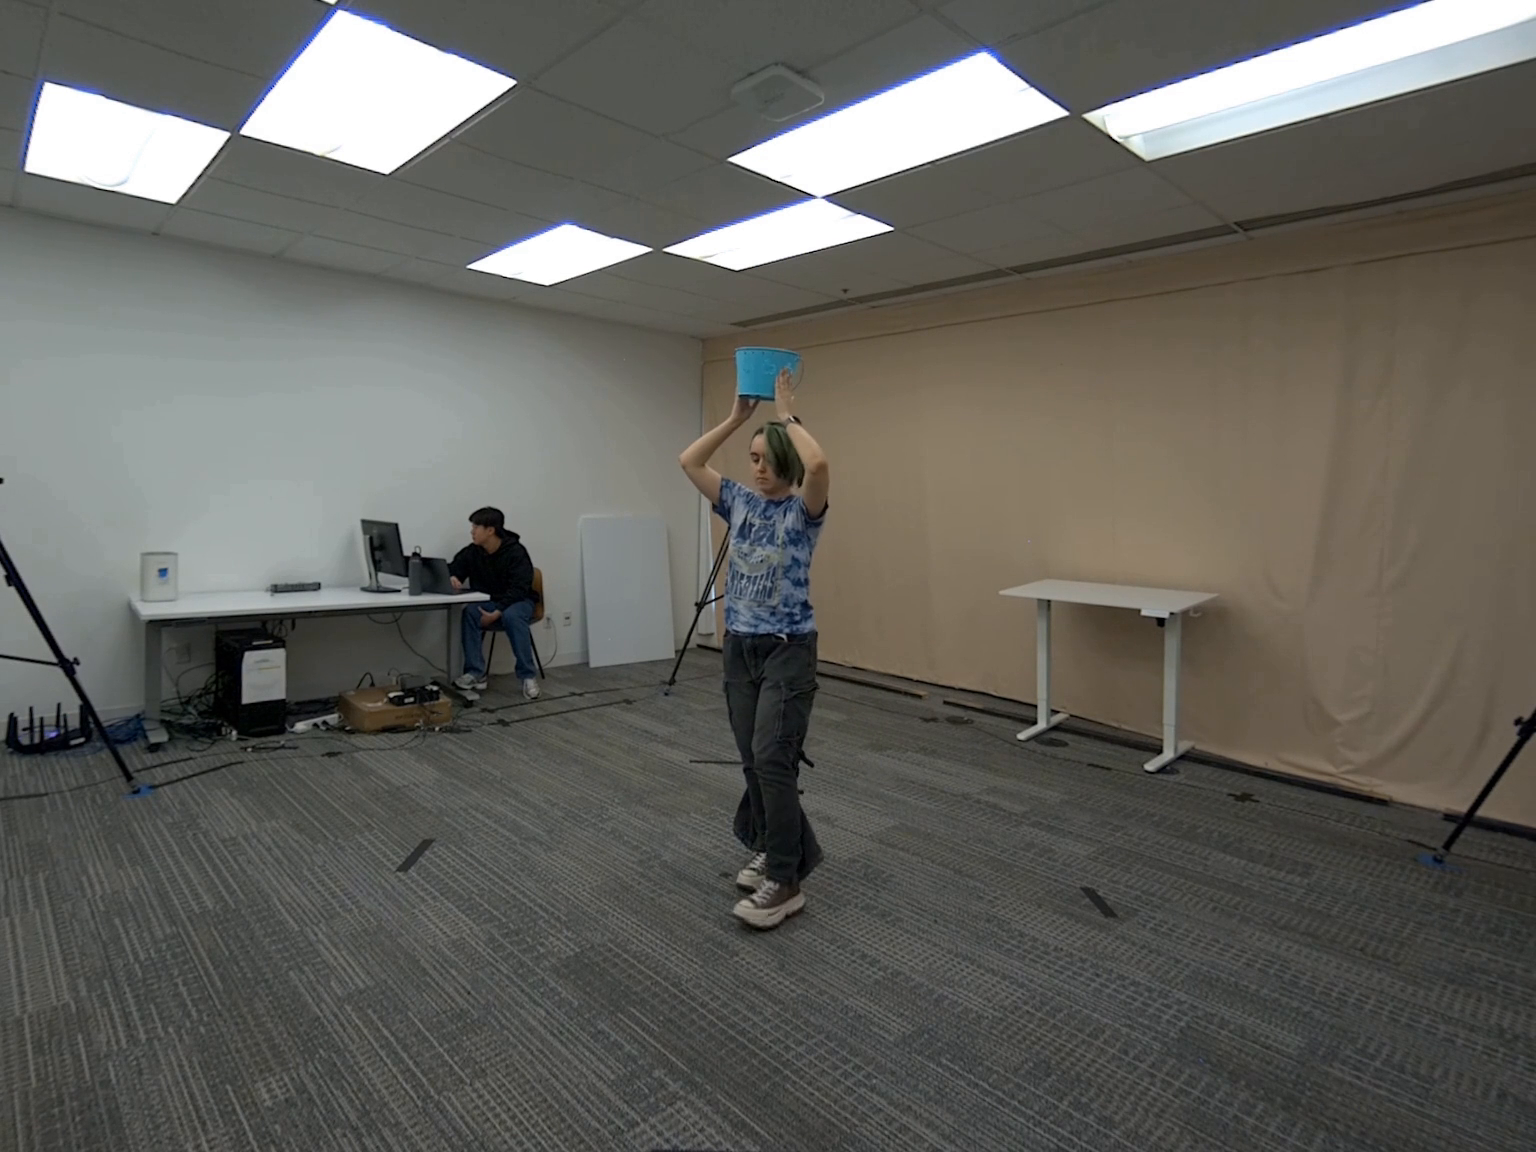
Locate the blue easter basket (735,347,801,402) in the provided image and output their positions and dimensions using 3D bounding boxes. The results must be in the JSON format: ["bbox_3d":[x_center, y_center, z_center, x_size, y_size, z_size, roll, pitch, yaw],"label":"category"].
[{"bbox_3d":[-0.004,-0.692,2.896,0.243,0.155,0.245,4,6,-2],"label":"blue easter basket"}]
